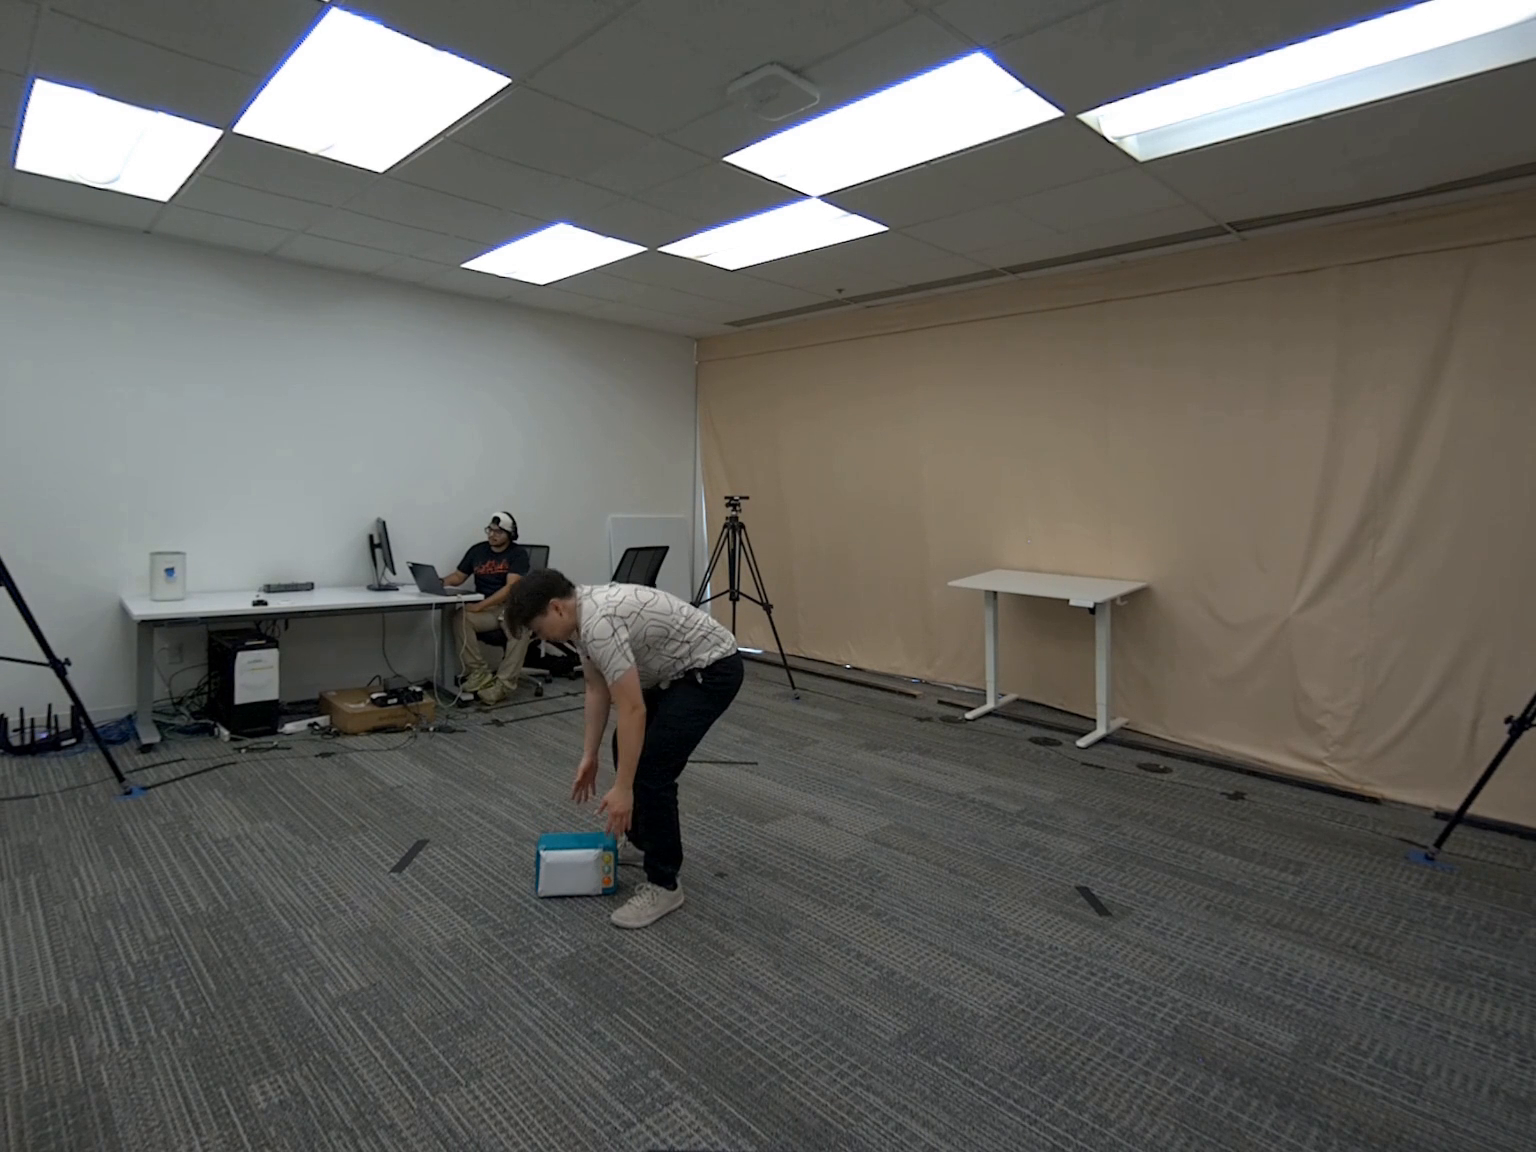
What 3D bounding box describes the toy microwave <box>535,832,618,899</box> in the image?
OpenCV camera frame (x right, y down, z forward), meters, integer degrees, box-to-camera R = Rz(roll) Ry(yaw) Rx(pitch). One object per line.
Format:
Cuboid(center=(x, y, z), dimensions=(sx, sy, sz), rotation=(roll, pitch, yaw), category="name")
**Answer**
Cuboid(center=(-0.680, 1.017, 2.948), dimensions=(0.284, 0.184, 0.154), rotation=(1, 4, -8), category="toy microwave")
